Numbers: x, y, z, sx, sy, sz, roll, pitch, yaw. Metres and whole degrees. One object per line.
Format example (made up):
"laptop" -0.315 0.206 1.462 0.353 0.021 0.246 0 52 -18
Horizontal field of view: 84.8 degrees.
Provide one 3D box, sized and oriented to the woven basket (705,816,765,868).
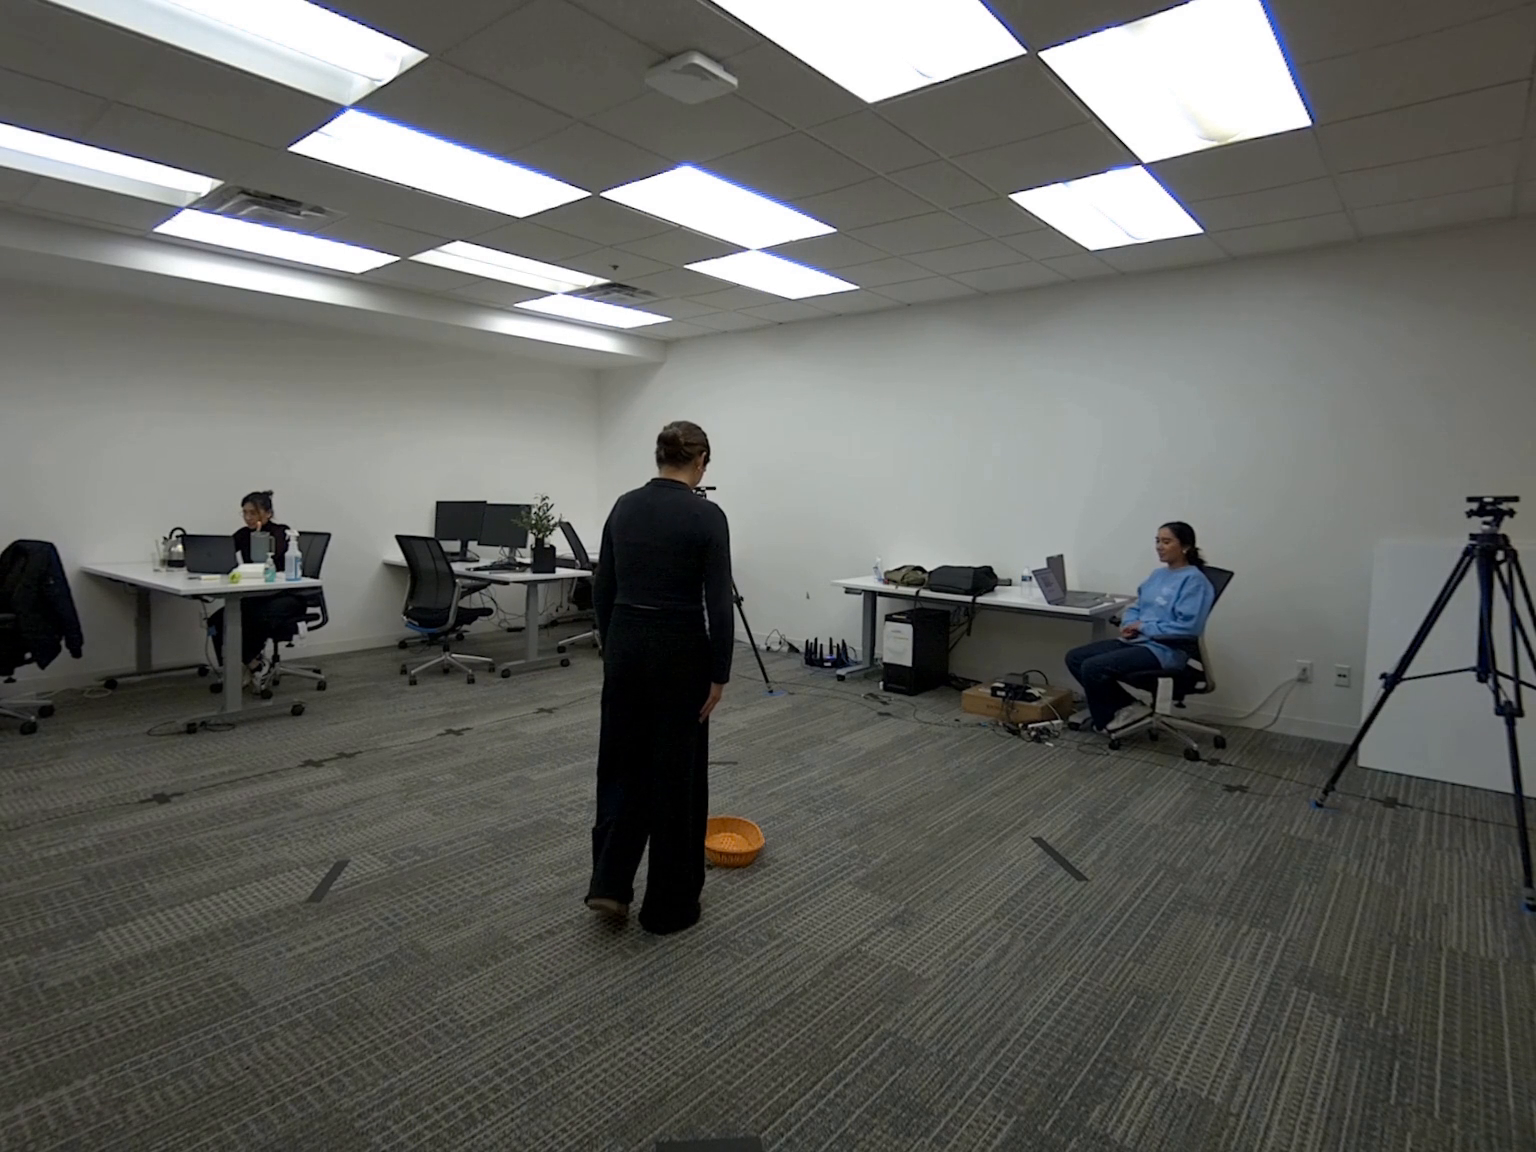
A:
"woven basket" -0.156 1.010 3.255 0.249 0.073 0.356 1 5 -12
